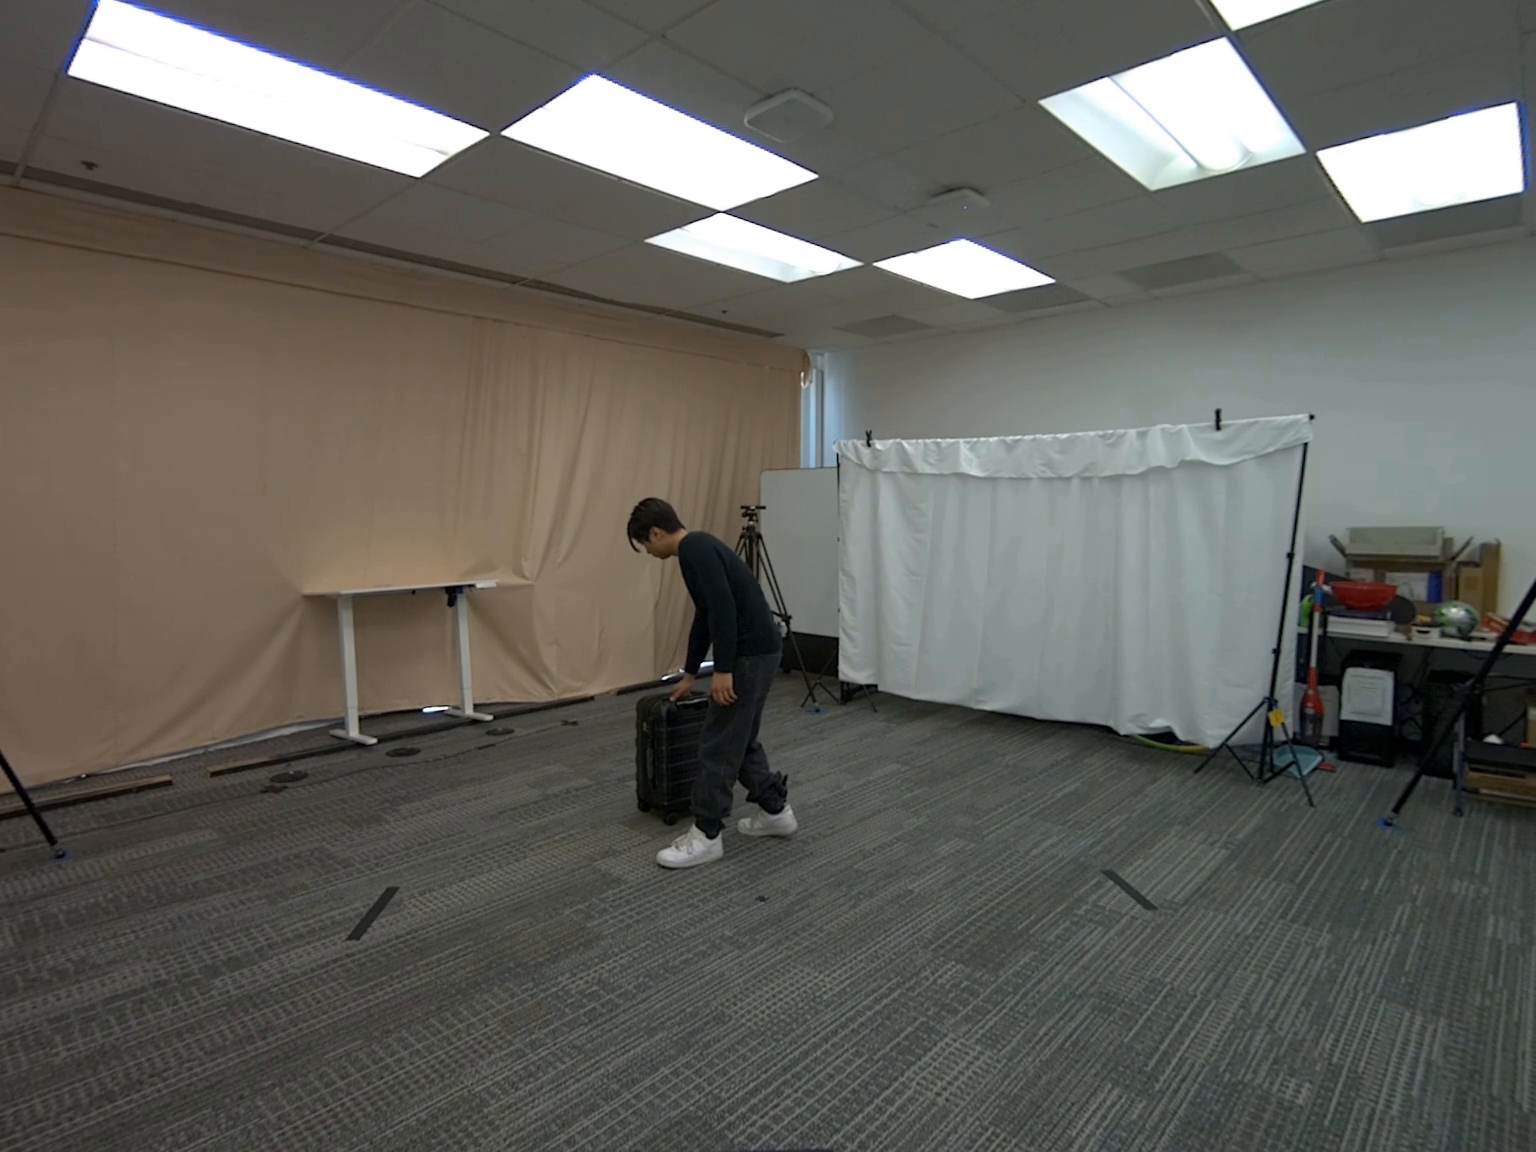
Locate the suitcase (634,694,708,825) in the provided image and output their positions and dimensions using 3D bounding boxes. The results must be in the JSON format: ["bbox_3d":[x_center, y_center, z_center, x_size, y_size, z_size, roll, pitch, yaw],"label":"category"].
[{"bbox_3d":[-0.415,0.800,3.844,0.364,0.548,0.256,-4,4,-36],"label":"suitcase"}]
